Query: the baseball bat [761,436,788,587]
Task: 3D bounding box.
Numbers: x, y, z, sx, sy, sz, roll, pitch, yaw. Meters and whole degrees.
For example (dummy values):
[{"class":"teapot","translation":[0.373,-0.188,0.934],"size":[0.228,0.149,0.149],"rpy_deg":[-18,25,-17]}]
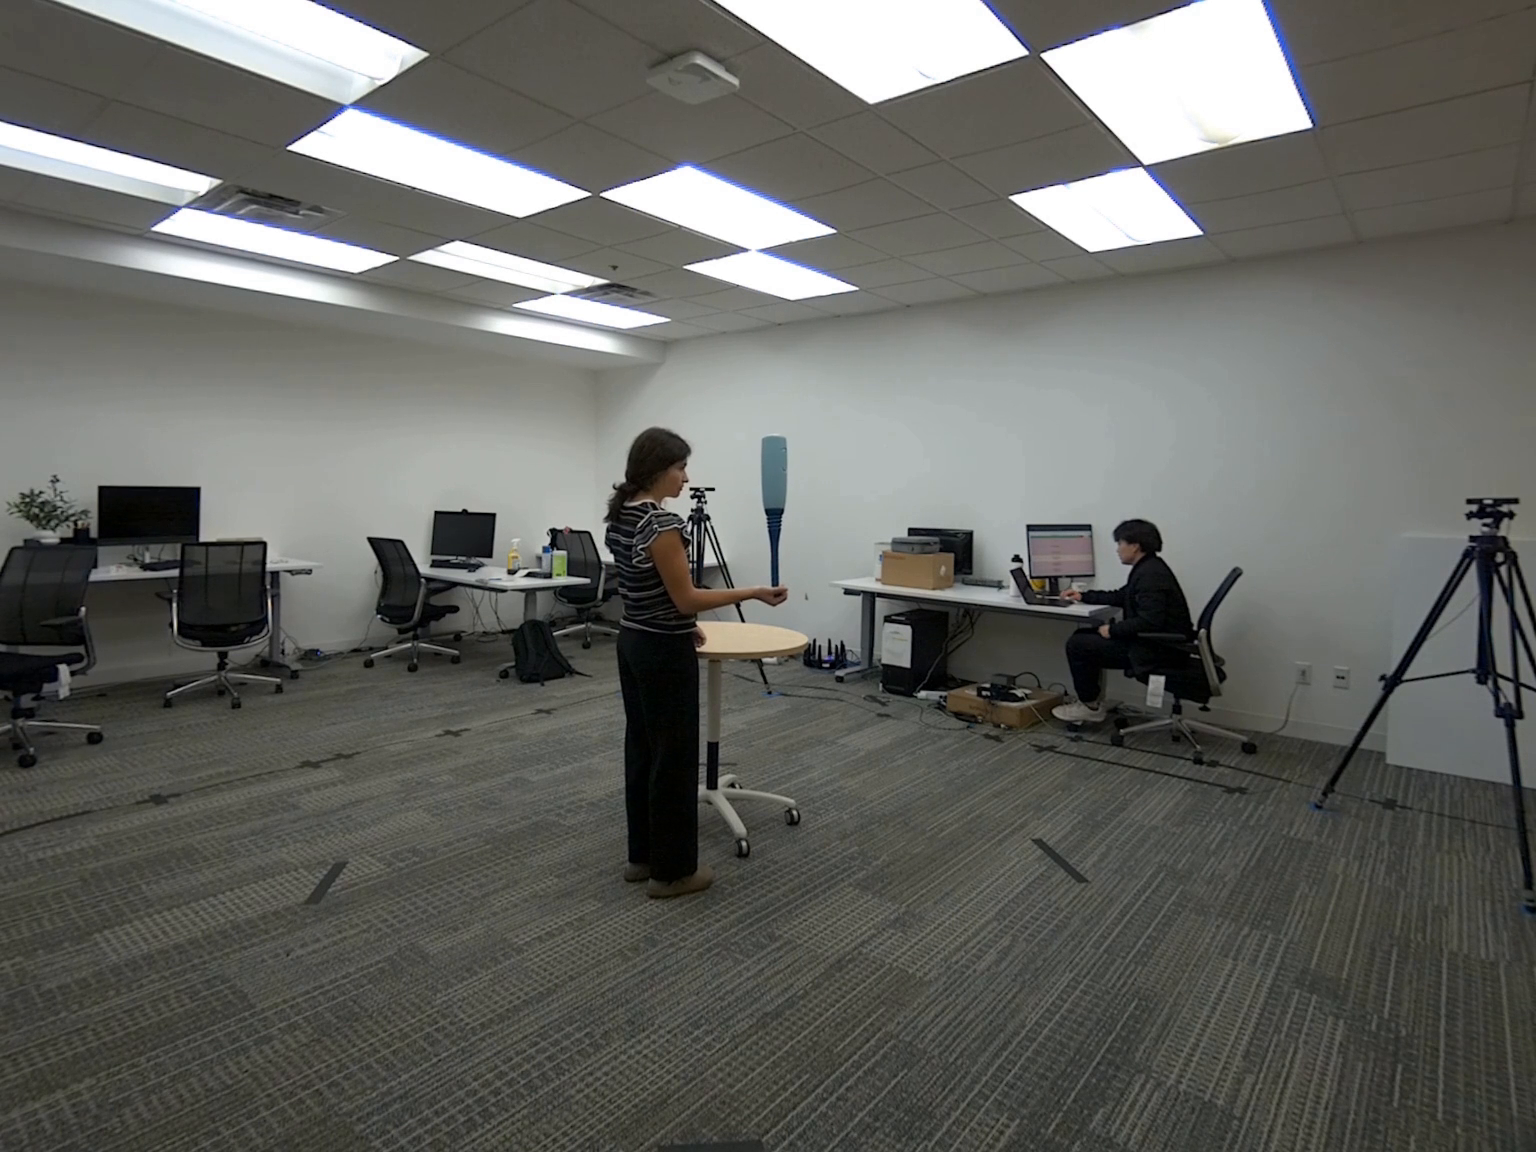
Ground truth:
[{"class":"baseball bat","translation":[0.015,-0.207,2.853],"size":[0.089,0.545,0.089],"rpy_deg":[0,-3,-2]}]
